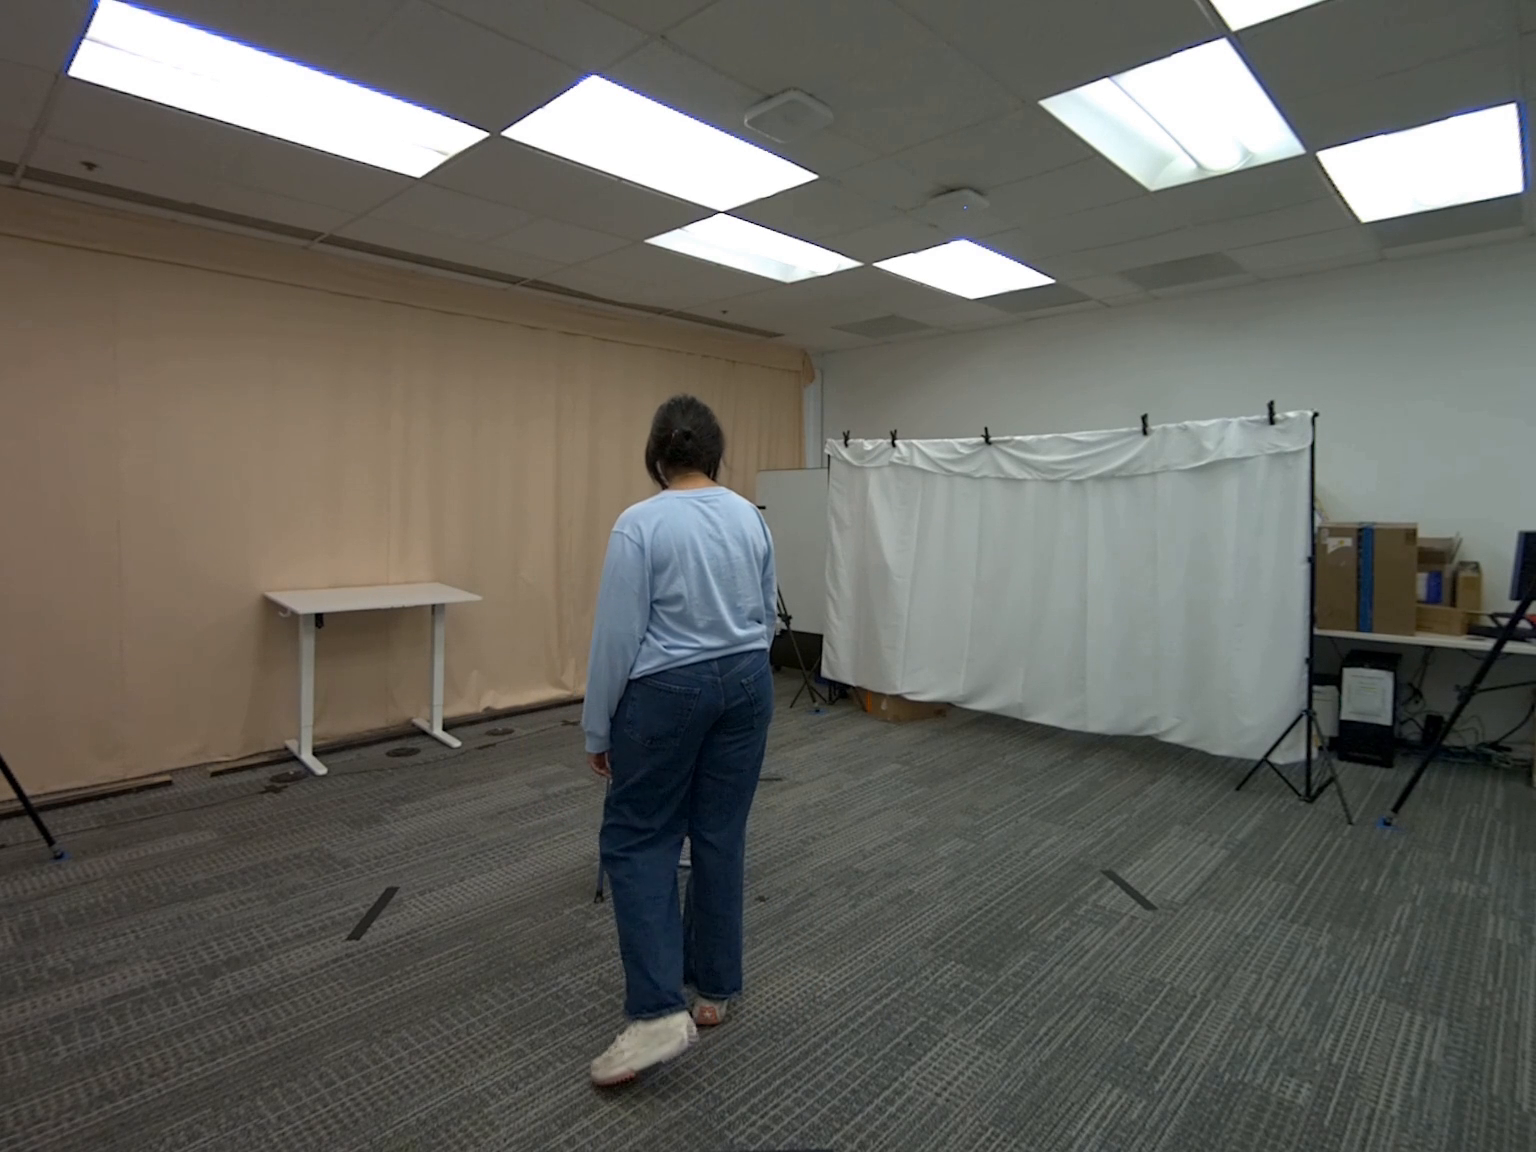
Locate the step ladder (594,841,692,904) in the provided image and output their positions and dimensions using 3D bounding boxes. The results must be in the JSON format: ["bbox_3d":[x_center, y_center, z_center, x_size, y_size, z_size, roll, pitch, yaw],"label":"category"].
[{"bbox_3d":[-0.388,0.834,3.088,0.435,0.605,0.347,0,4,8],"label":"step ladder"}]
